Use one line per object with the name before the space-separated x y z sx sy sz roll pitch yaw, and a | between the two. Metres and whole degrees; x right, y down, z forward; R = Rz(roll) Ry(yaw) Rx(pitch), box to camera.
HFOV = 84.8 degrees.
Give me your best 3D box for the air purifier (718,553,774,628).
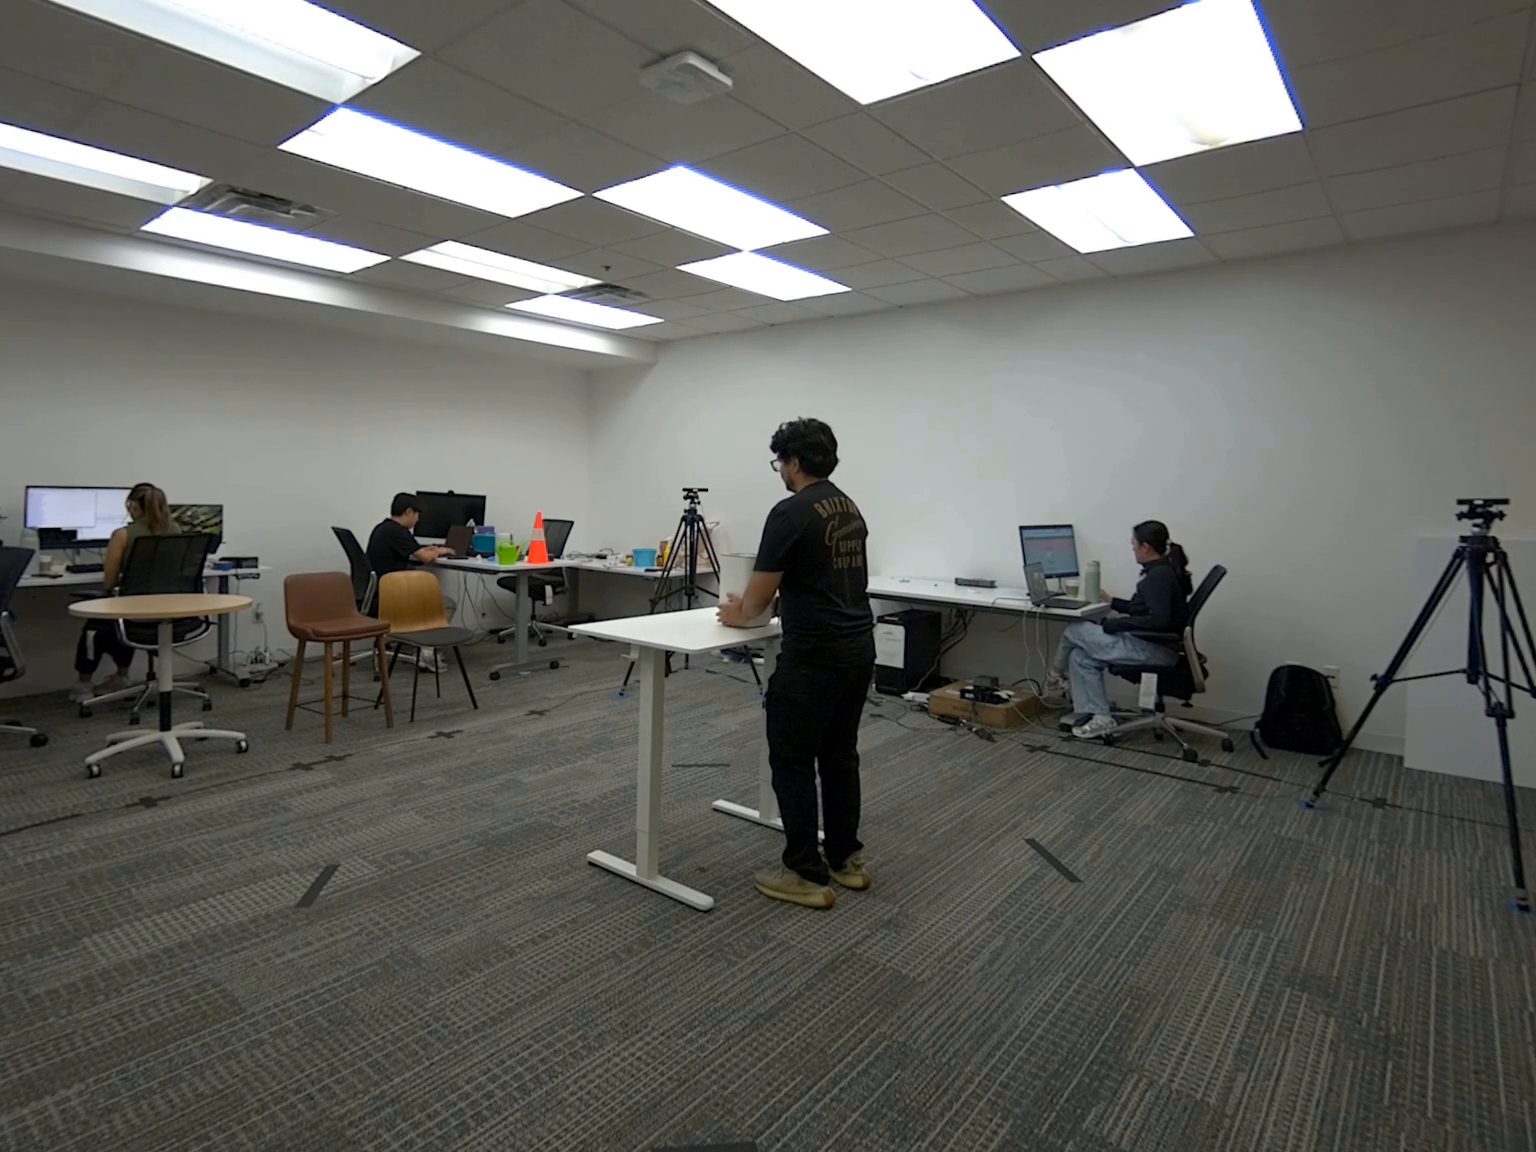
air purifier | -0.101 0.051 3.196 0.177 0.265 0.166 2 0 41
